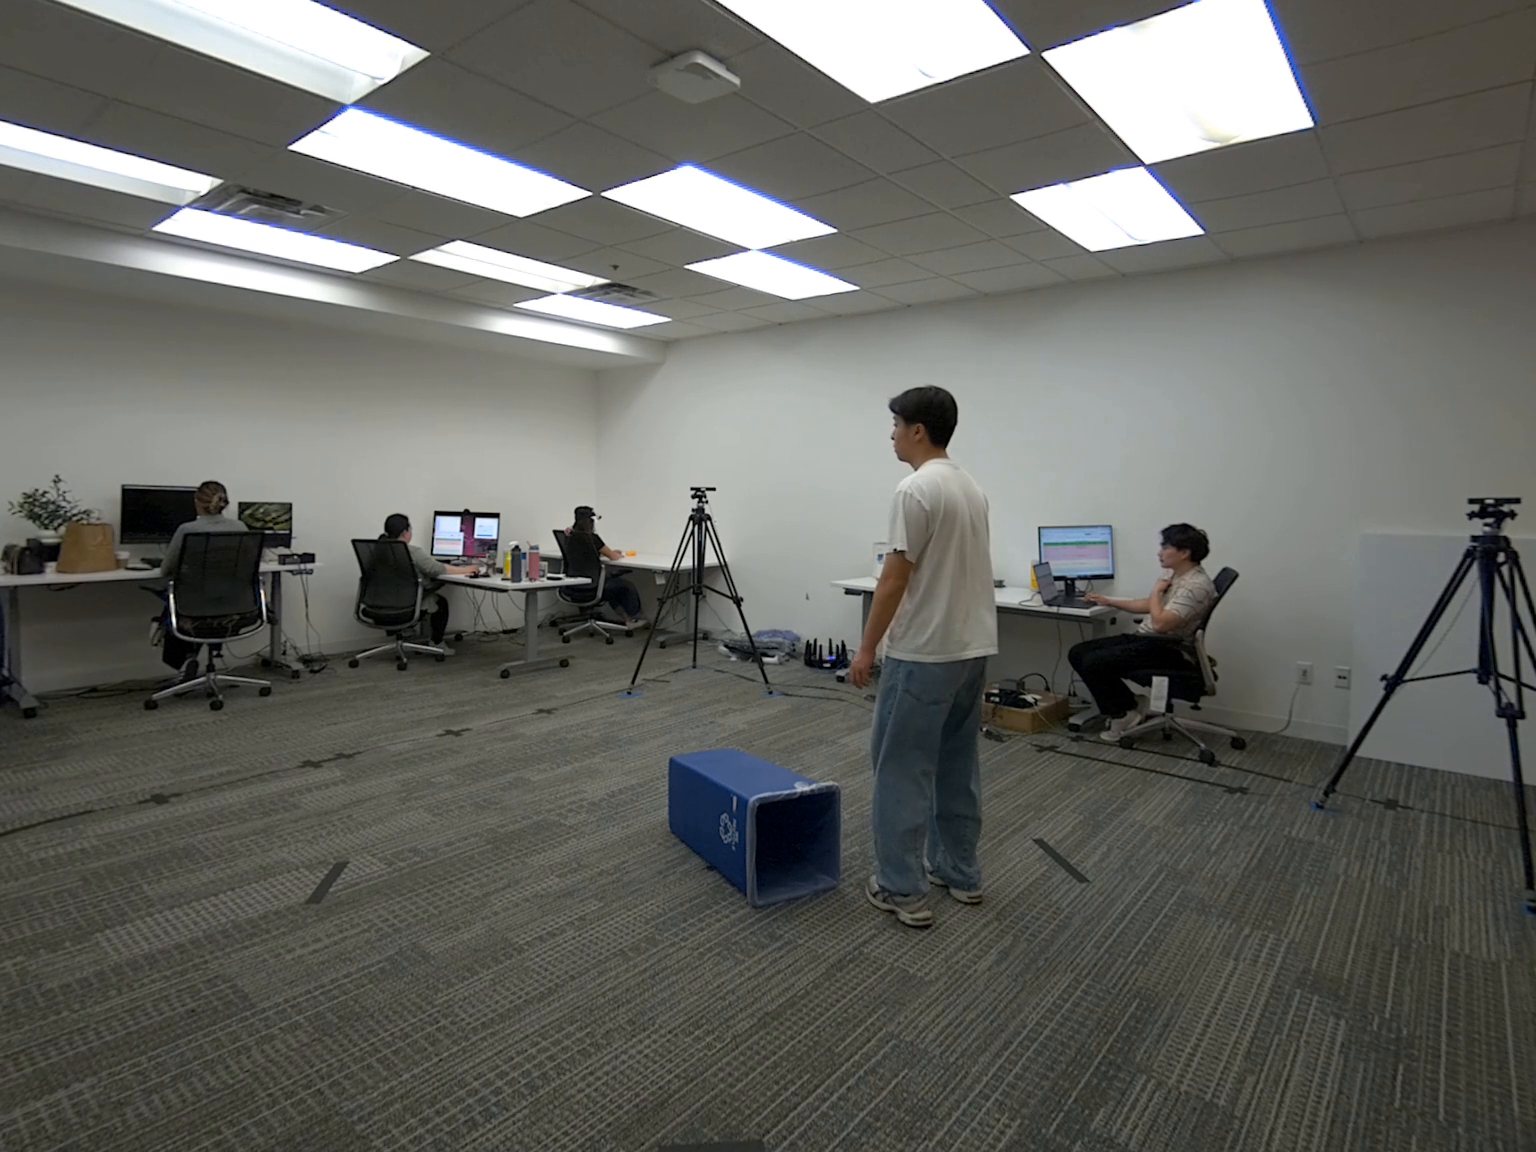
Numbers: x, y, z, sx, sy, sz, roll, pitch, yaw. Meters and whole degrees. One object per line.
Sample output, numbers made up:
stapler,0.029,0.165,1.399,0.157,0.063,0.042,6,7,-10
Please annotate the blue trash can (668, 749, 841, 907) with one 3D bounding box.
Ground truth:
blue trash can,-0.106,0.897,3.199,0.364,0.377,0.734,-1,3,-31
